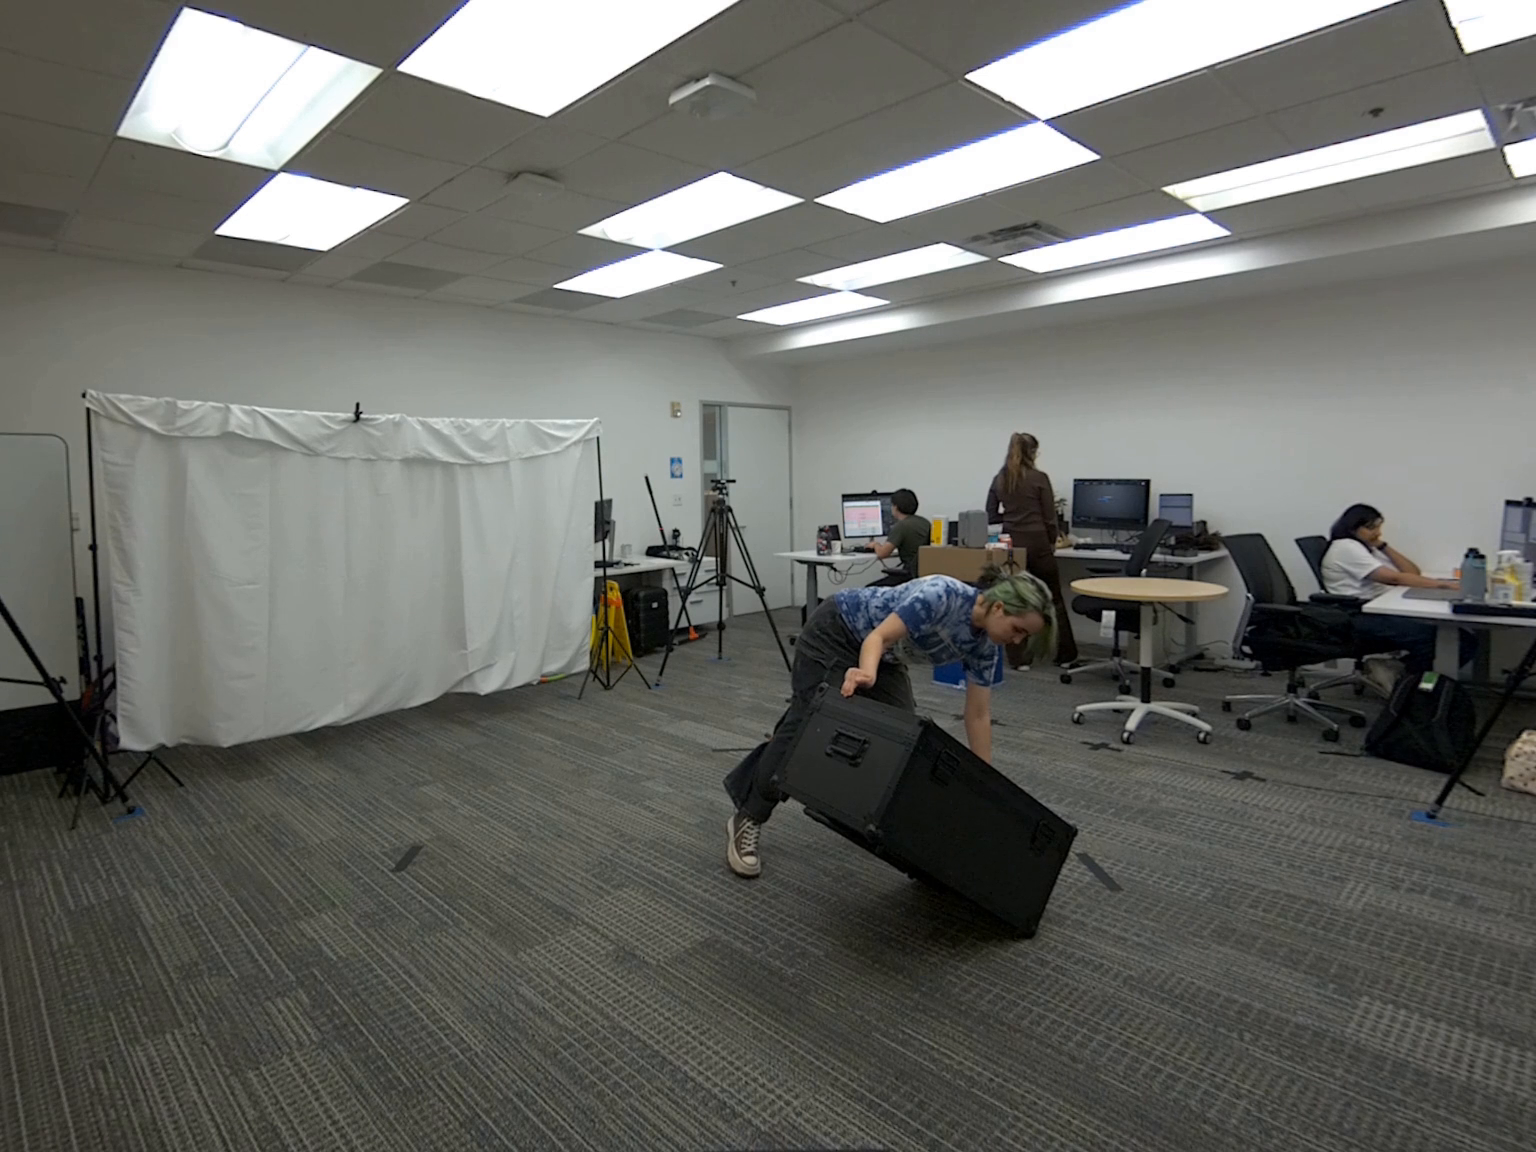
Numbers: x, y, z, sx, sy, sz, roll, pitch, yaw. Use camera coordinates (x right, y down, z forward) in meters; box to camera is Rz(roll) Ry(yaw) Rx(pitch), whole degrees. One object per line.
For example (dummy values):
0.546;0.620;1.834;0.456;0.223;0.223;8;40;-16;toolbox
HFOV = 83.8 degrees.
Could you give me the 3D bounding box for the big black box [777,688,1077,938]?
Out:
0.457;0.711;2.640;0.835;0.398;0.536;39;-16;-27;big black box
